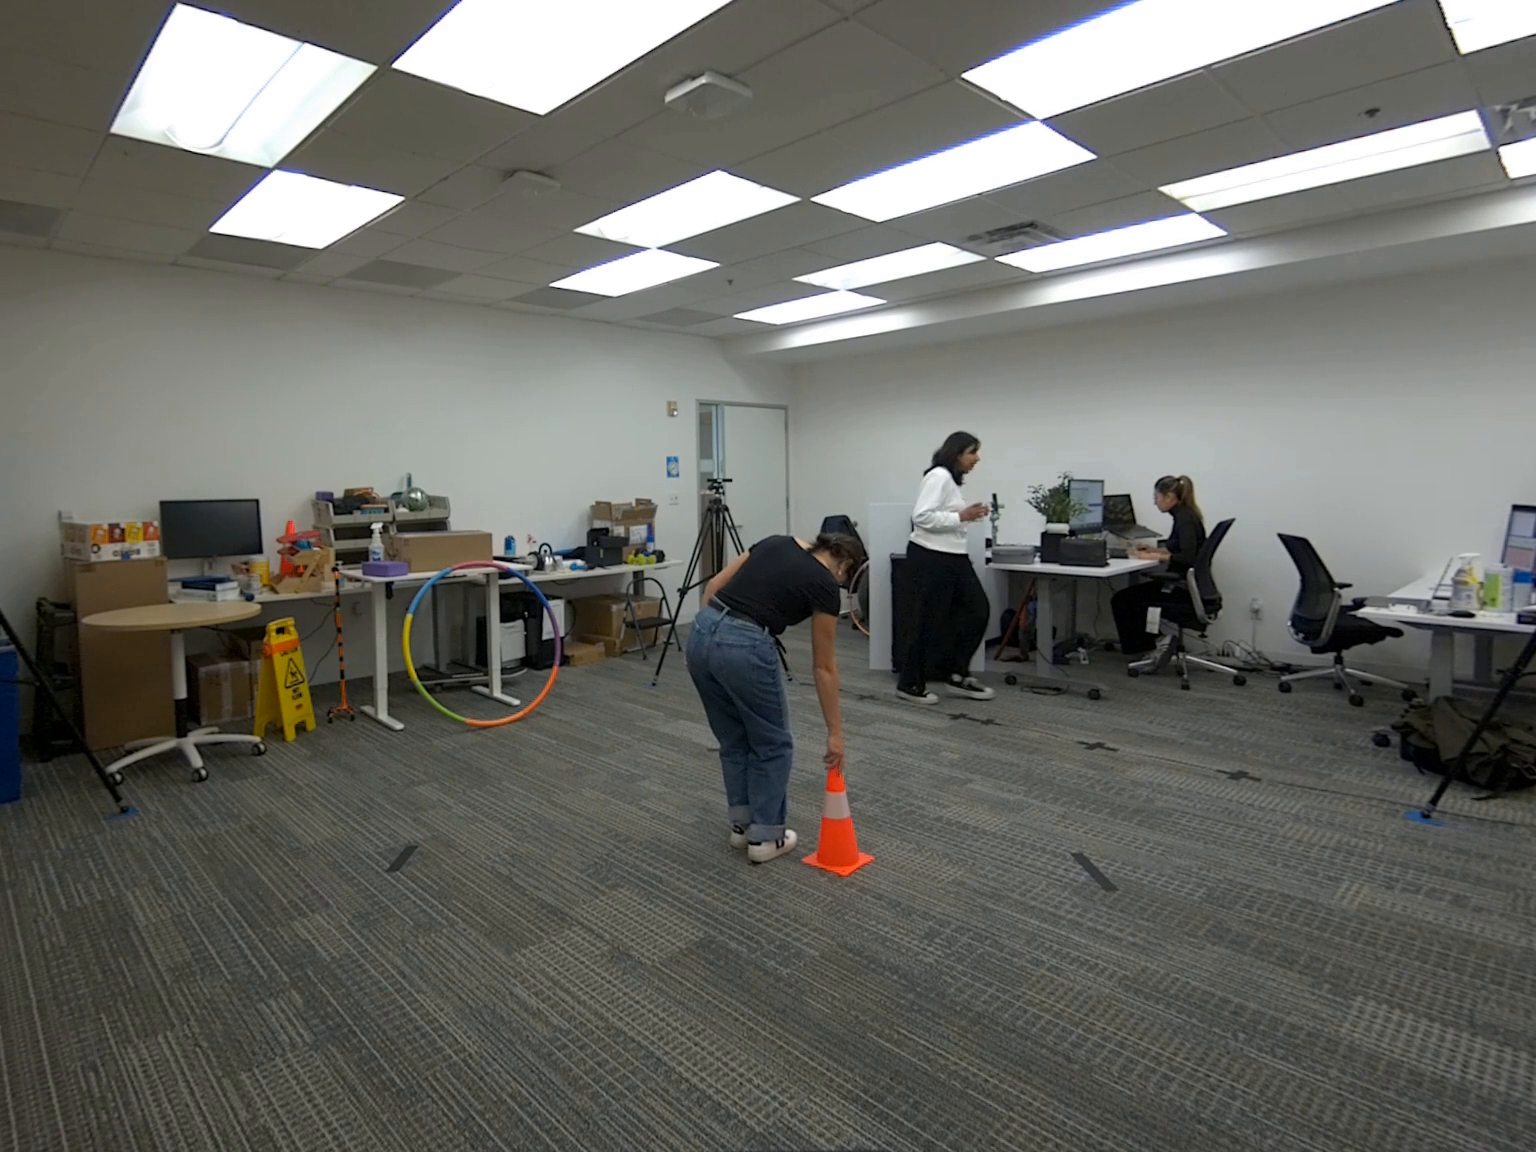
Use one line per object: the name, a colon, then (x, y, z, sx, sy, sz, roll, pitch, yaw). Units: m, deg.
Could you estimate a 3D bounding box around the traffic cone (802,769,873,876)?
traffic cone: (0.258, 0.856, 3.124, 0.211, 0.383, 0.198, 0, 3, 39)
